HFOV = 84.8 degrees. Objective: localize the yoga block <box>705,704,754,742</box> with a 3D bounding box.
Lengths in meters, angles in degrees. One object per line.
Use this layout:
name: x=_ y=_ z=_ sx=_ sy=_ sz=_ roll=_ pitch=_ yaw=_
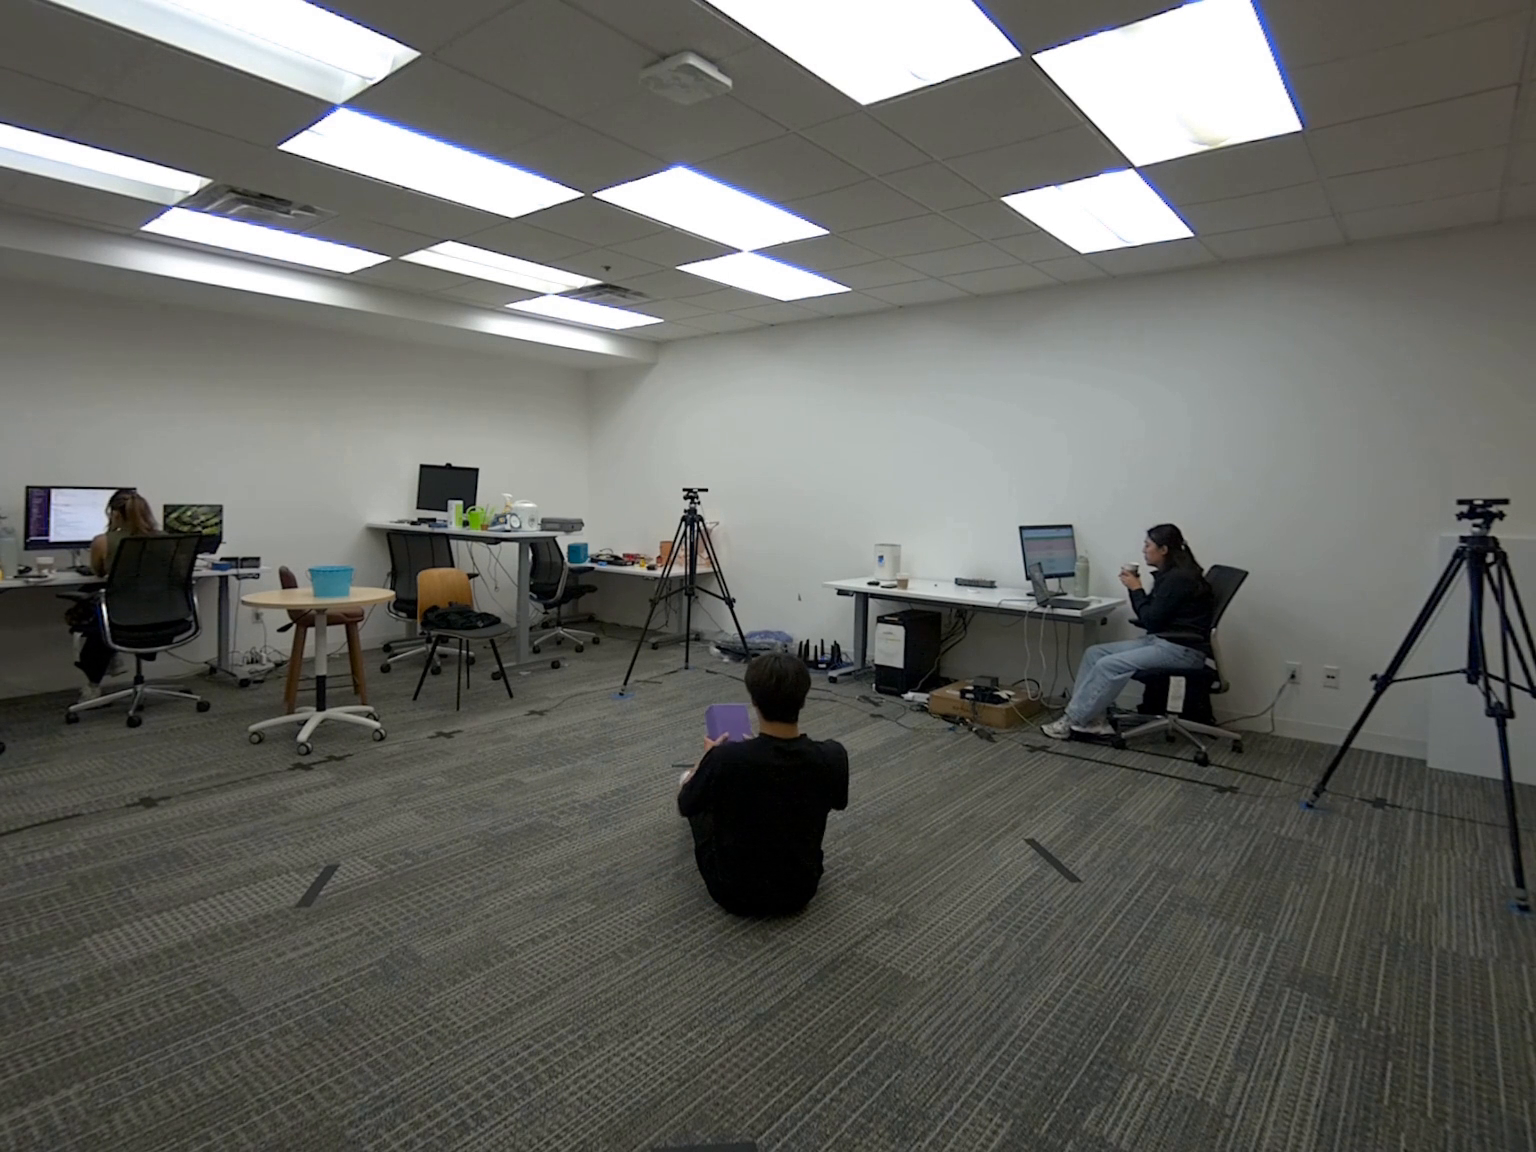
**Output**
yoga block: x=-0.138 y=0.585 z=3.136 sx=0.145 sy=0.237 sz=0.075 roll=2 pitch=-41 yaw=-23
